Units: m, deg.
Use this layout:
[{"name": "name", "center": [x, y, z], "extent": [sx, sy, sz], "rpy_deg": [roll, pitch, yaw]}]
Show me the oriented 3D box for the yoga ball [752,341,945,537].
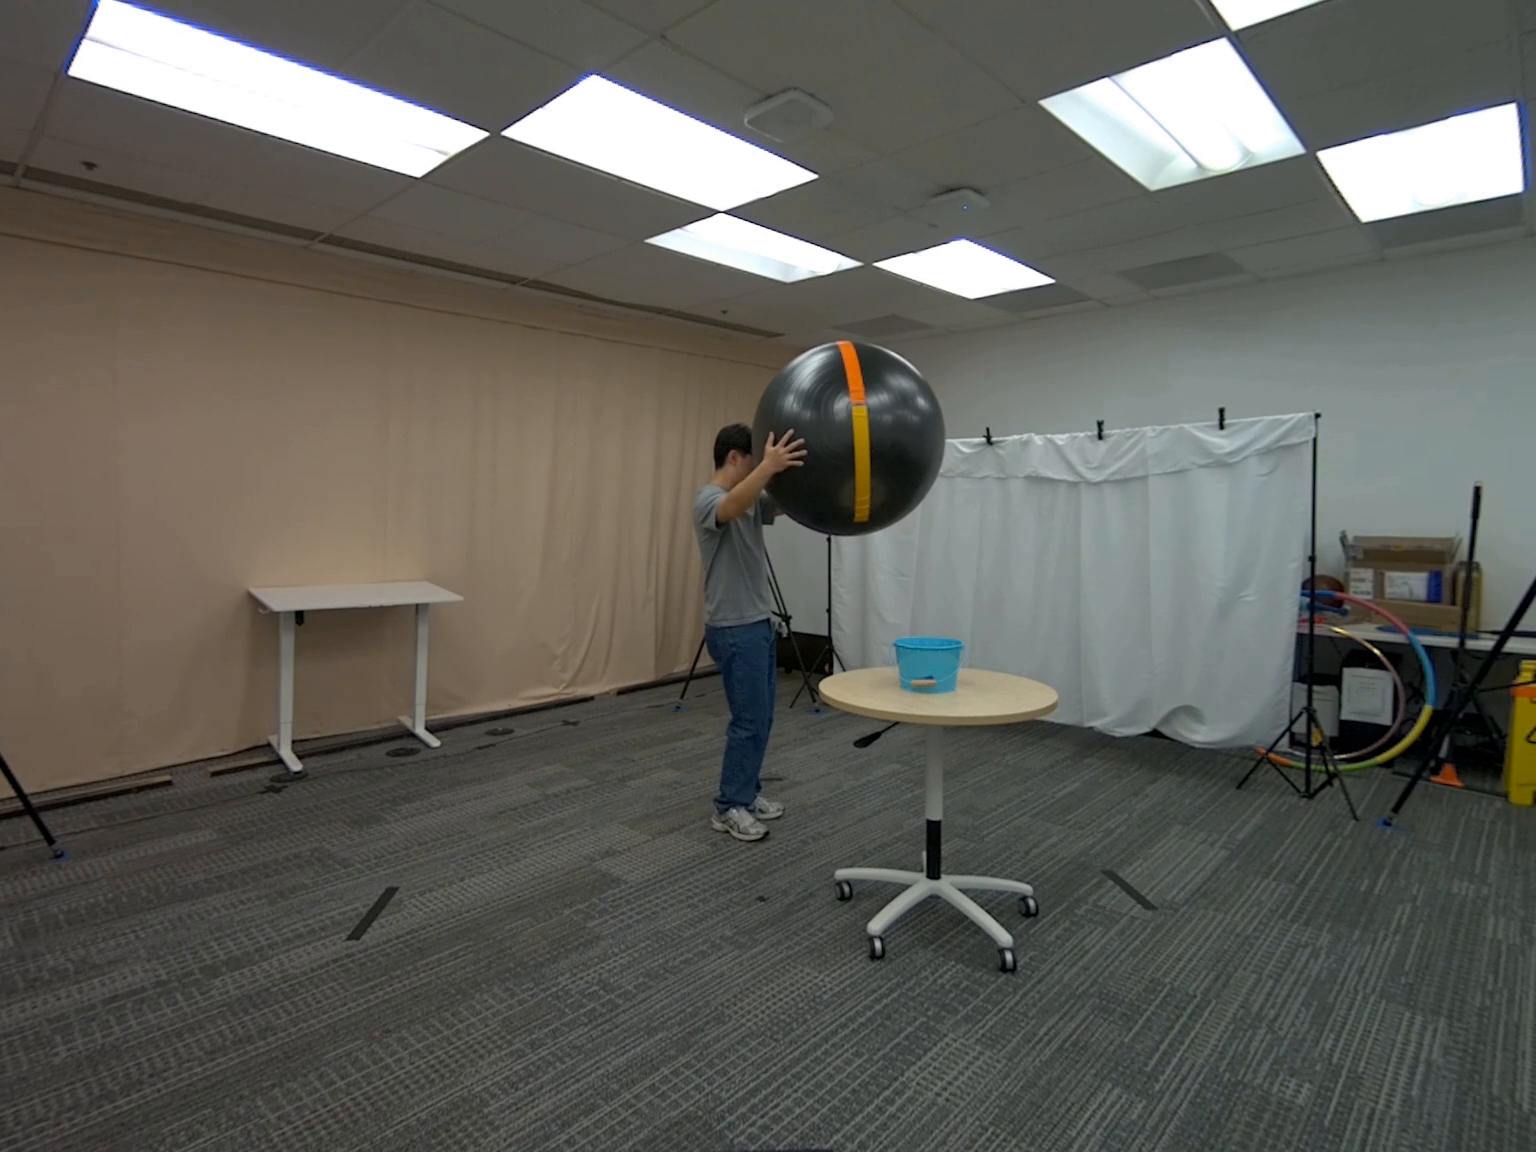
[{"name": "yoga ball", "center": [0.313, -0.528, 3.344], "extent": [0.757, 0.756, 0.760], "rpy_deg": [0, 4, -2]}]
